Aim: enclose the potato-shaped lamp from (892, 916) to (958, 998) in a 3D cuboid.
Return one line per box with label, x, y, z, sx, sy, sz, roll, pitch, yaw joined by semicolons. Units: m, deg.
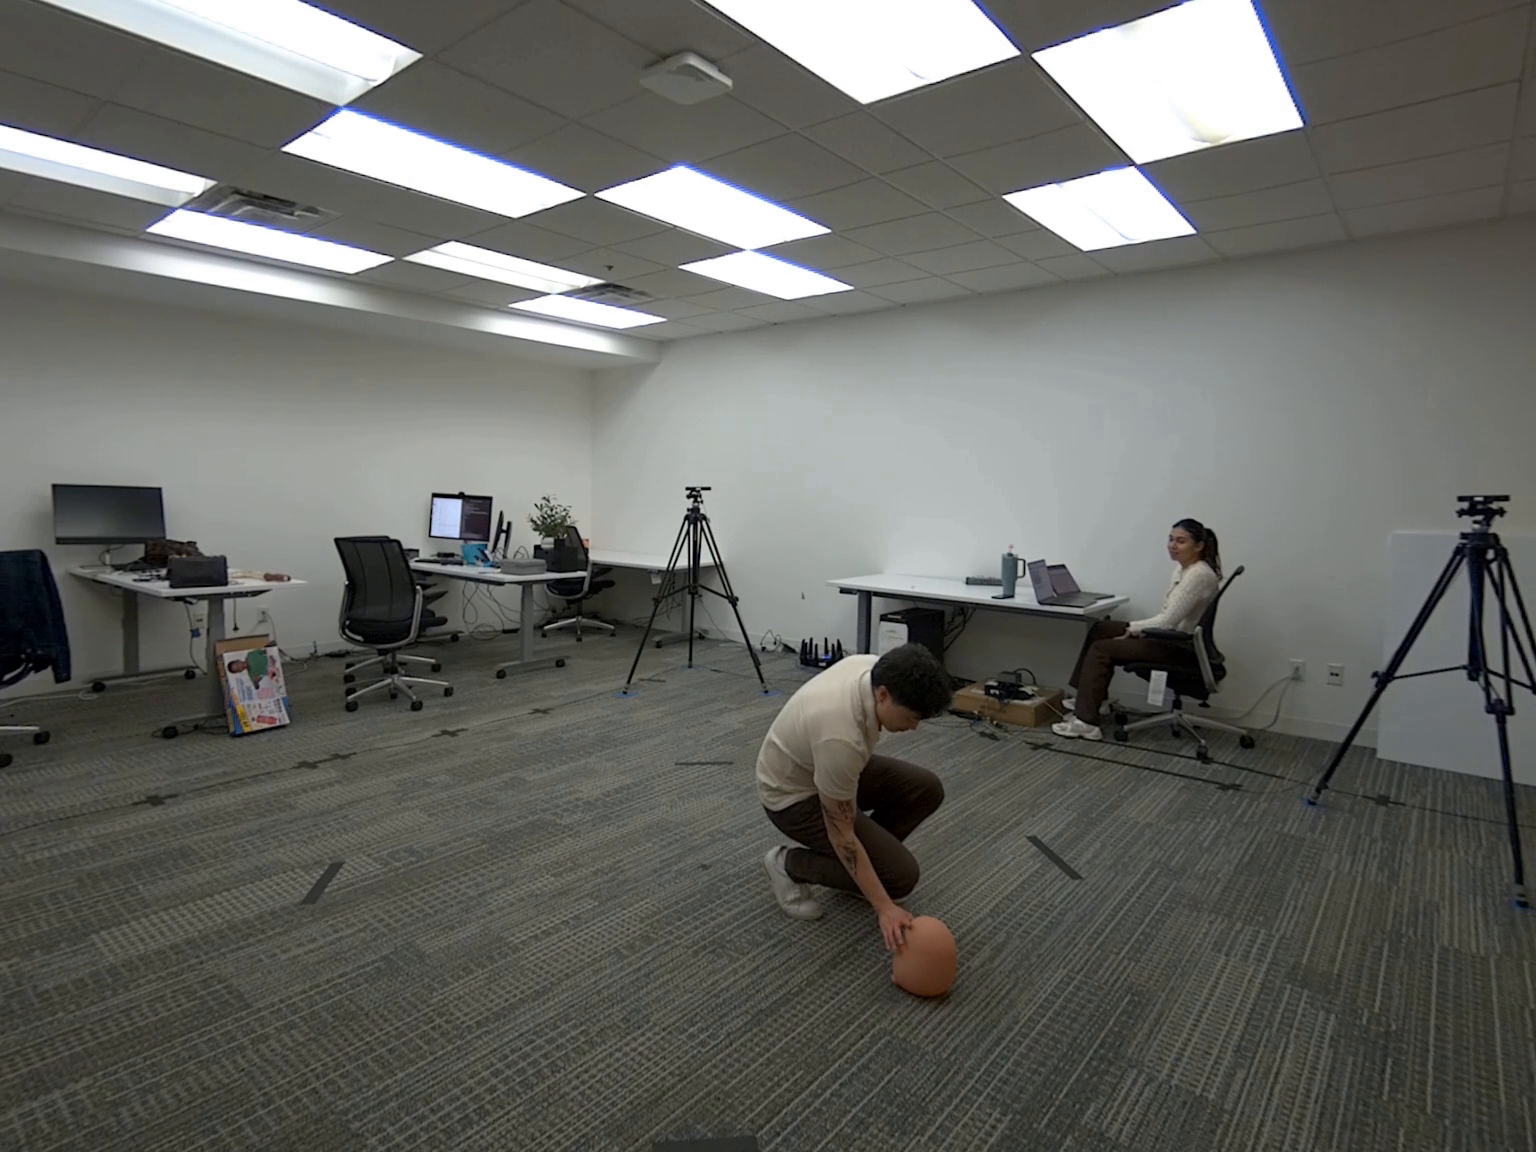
potato-shaped lamp;0.442;1.050;2.388;0.177;0.197;0.160;11;9;36
